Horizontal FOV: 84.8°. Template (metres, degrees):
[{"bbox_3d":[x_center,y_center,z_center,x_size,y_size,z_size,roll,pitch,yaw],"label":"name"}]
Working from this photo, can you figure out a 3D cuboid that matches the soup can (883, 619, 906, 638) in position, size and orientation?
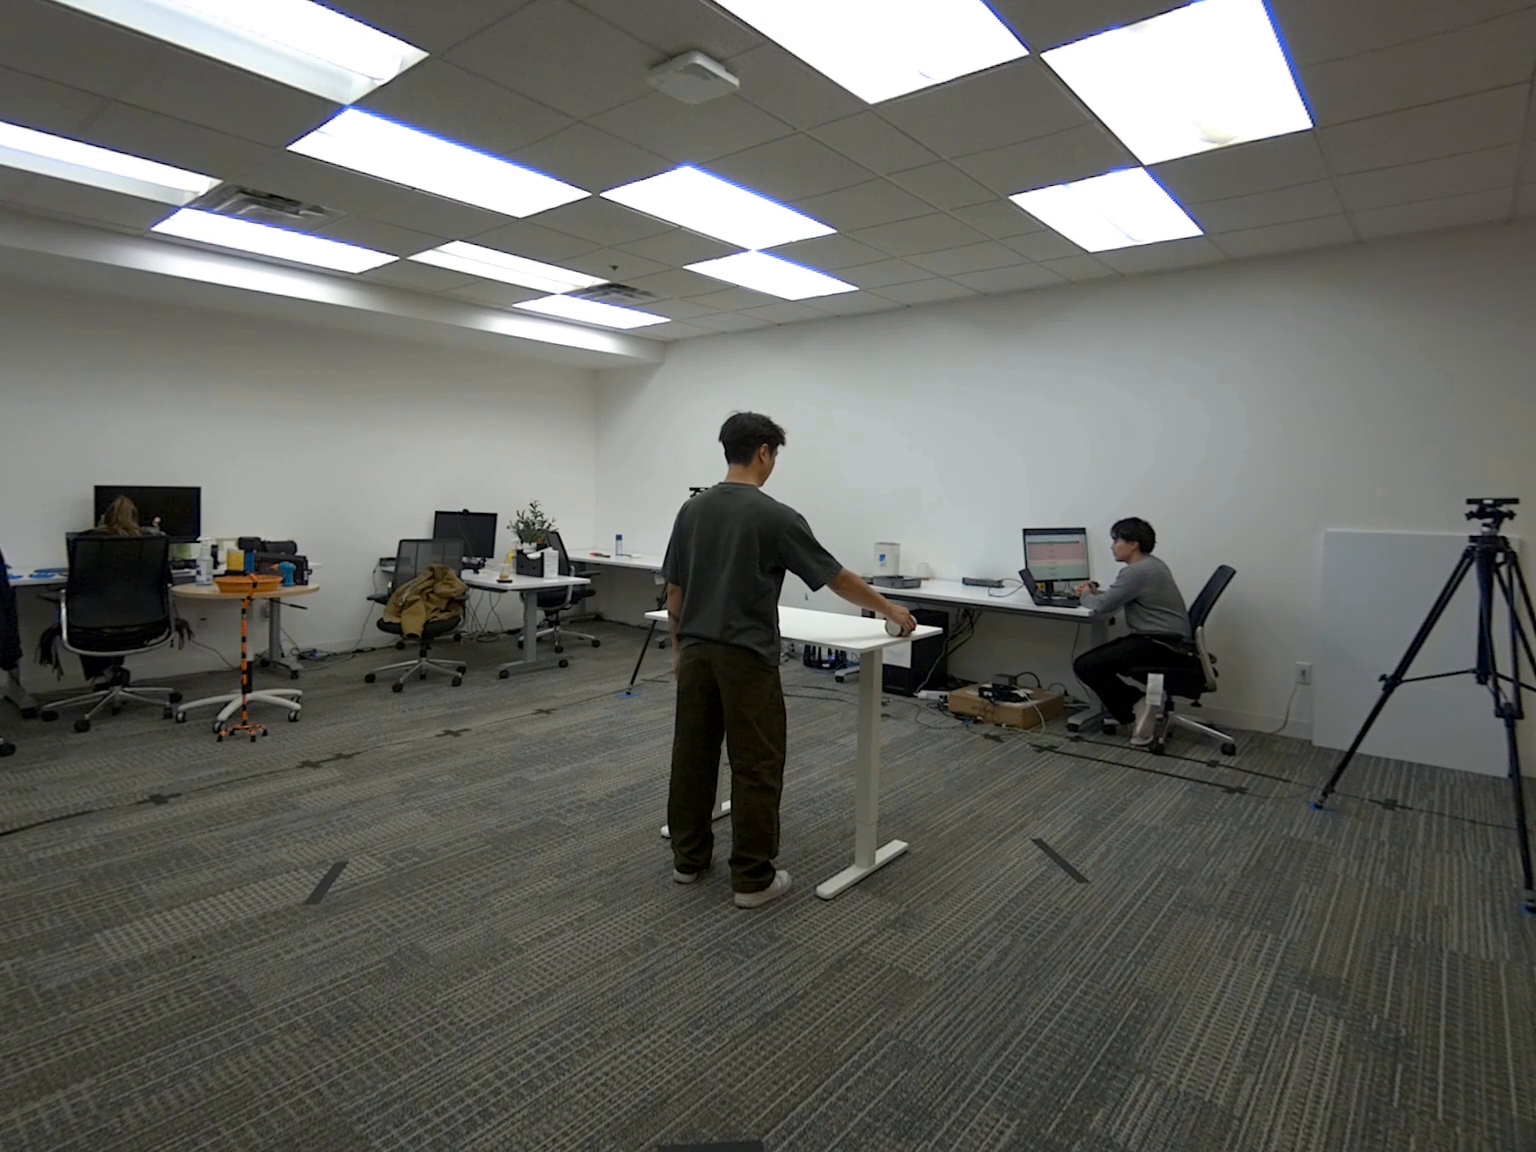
[{"bbox_3d":[0.467,0.174,3.042,0.118,0.067,0.069,-7,8,-43],"label":"soup can"}]
